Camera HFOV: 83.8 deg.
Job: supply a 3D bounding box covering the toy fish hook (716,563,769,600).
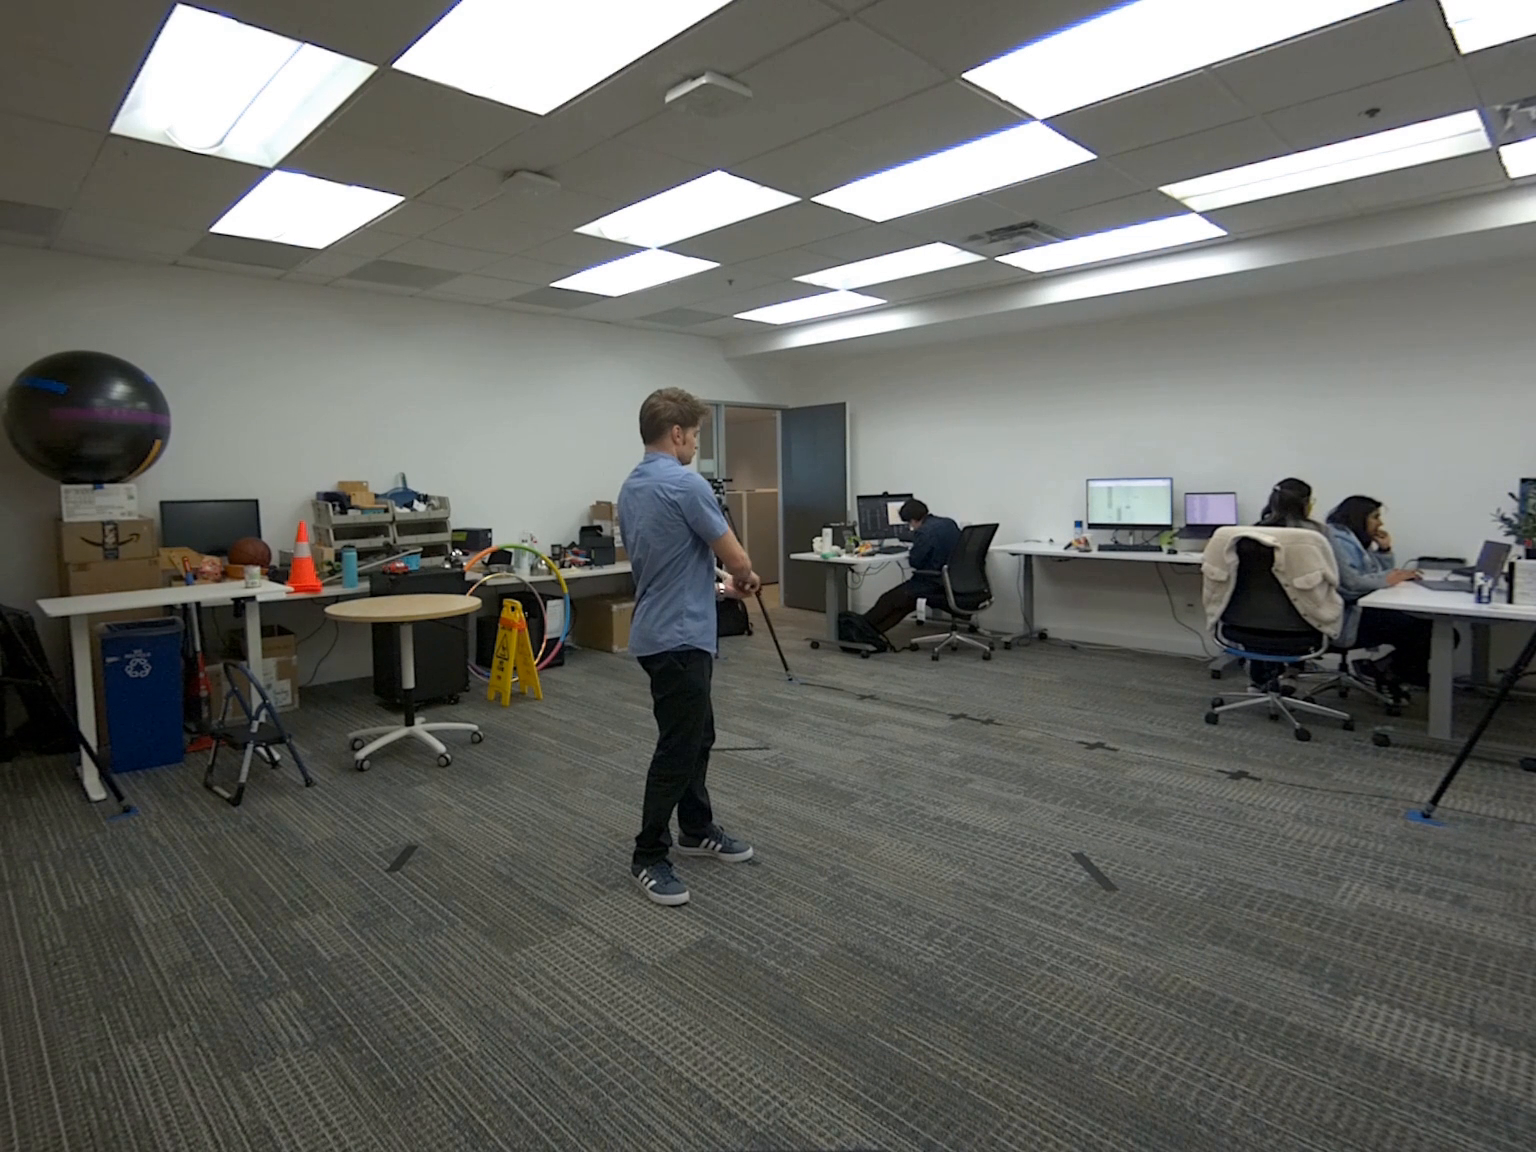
[{"bbox_3d":[-0.133,0.010,3.381,0.224,0.048,0.507,26,-2,-3],"label":"toy fish hook"}]
